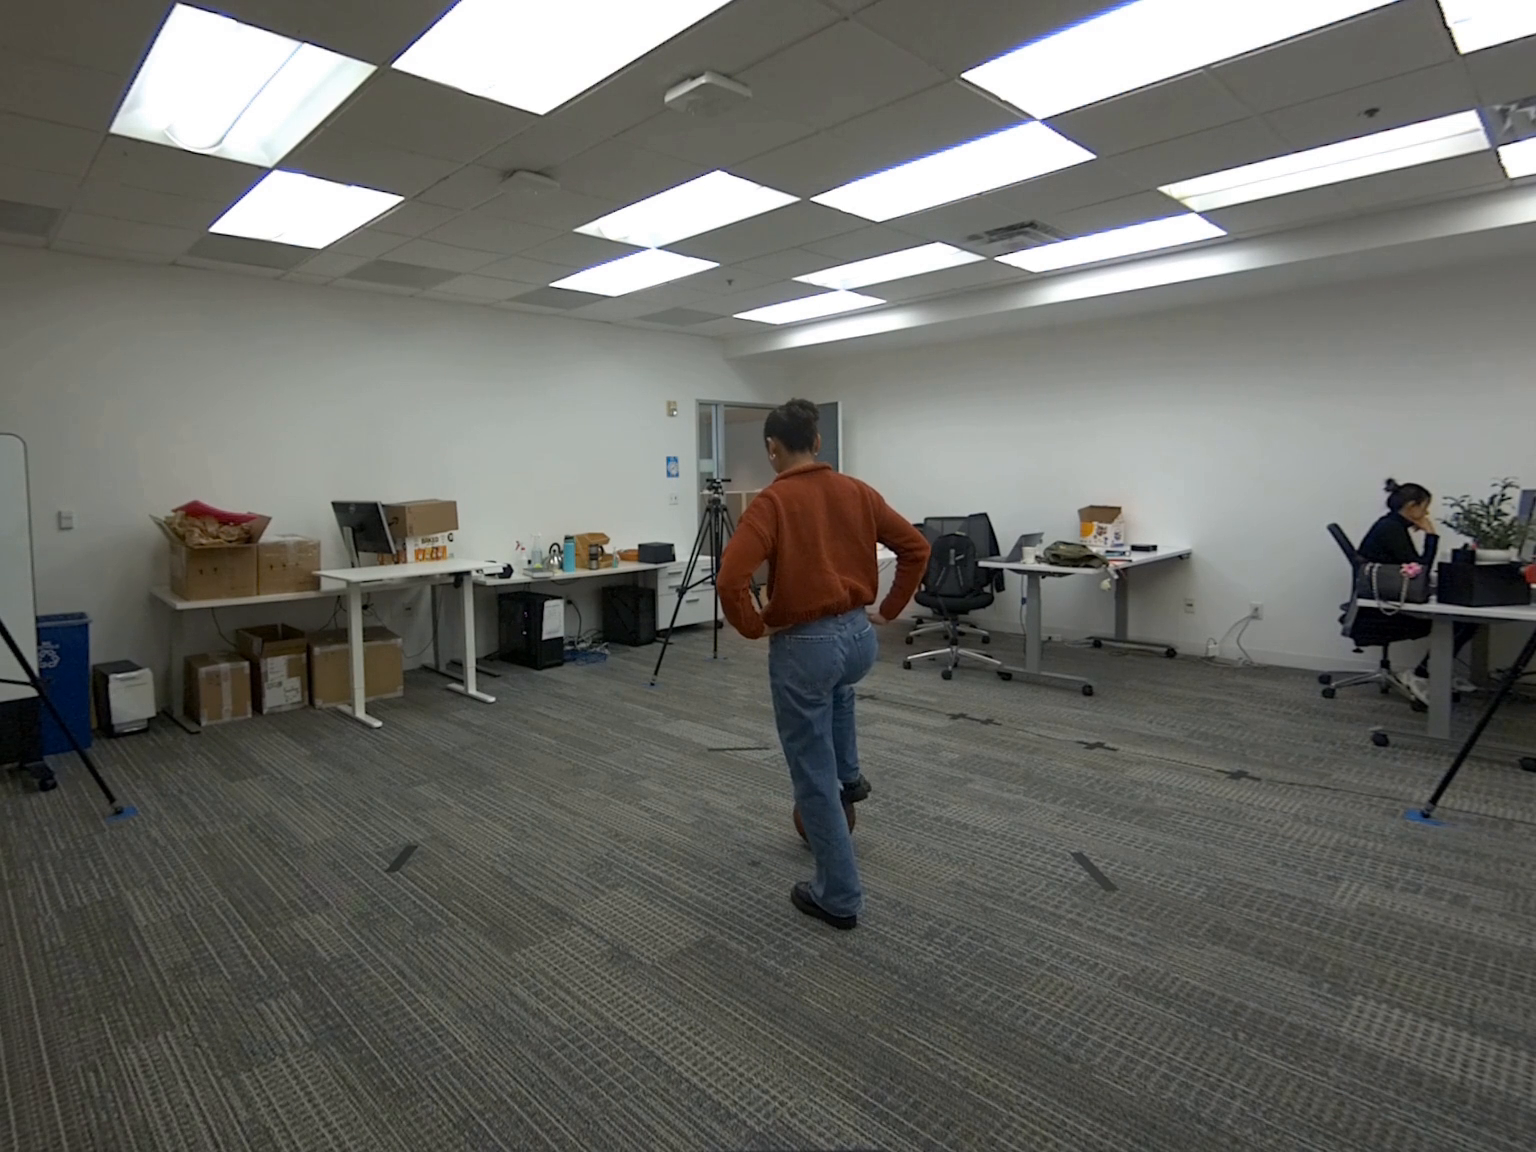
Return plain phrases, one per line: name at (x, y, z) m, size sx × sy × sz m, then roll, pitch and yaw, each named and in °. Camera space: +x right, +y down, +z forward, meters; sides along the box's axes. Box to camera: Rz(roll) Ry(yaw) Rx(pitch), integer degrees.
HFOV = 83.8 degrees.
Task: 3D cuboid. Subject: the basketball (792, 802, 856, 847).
basketball at (0.215, 0.909, 3.237) m, size 0.236 × 0.235 × 0.237 m, roll -1°, pitch 5°, yaw -2°
